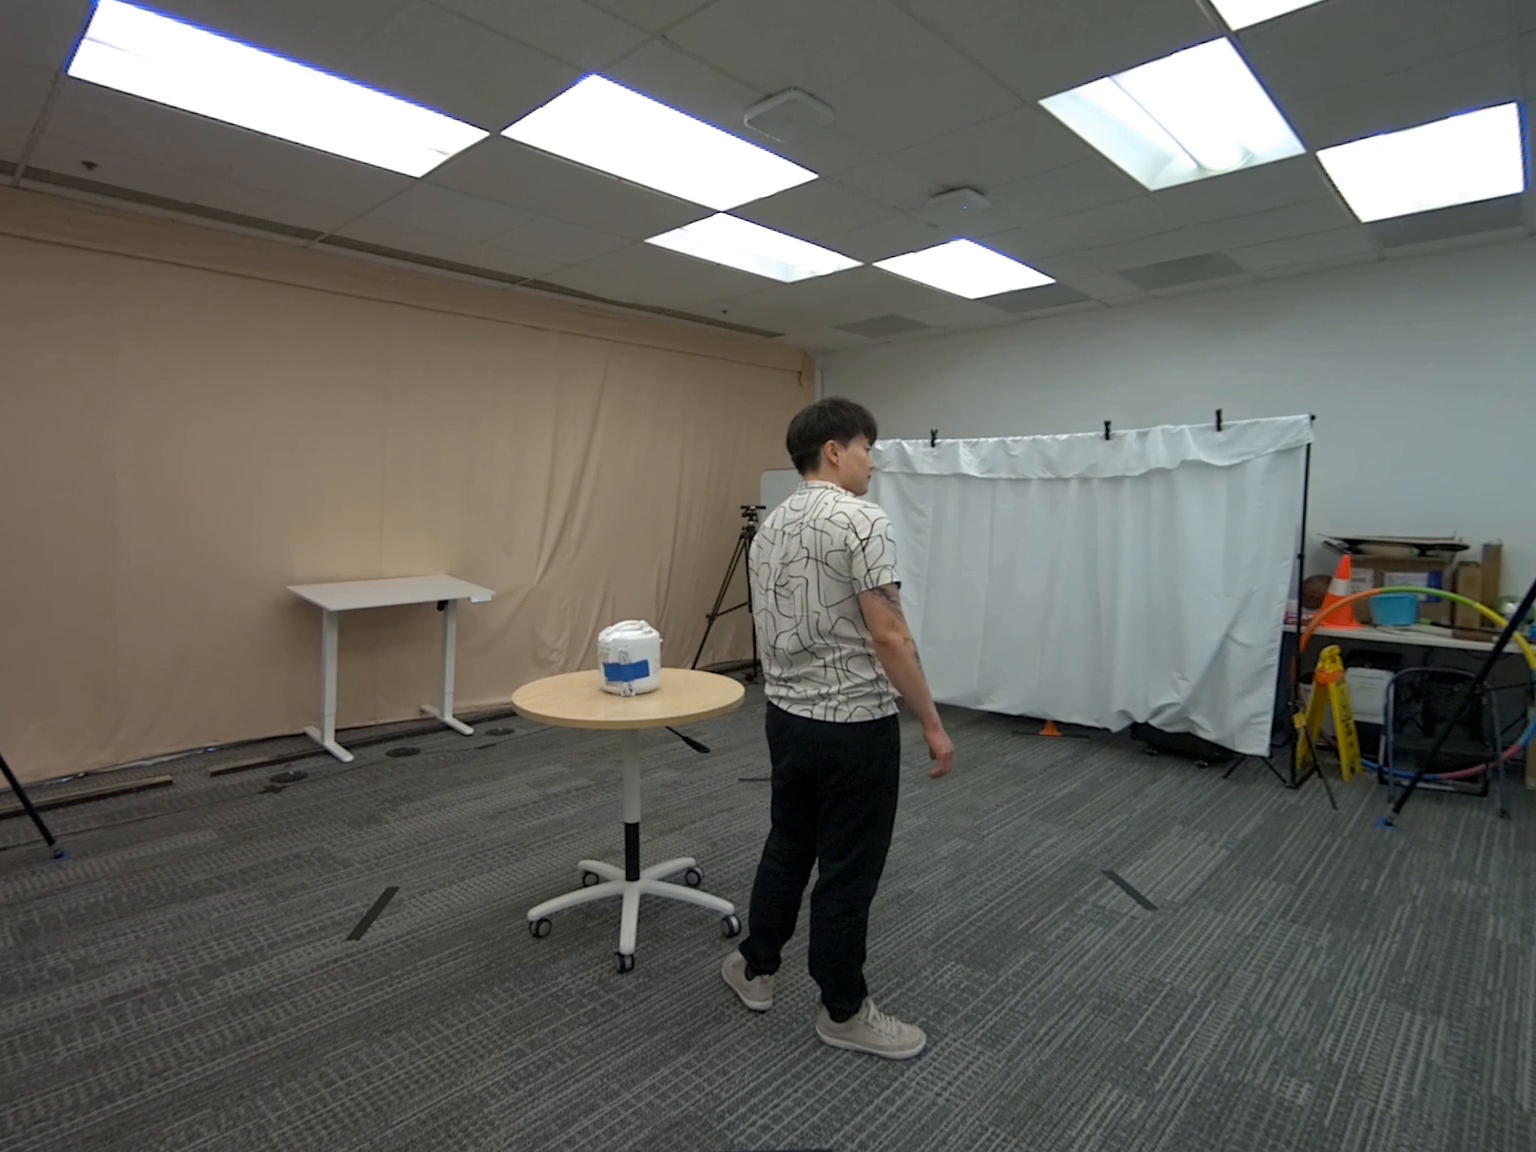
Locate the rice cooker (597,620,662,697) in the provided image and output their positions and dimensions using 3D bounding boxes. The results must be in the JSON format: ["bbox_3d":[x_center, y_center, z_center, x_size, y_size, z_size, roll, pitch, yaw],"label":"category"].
[{"bbox_3d":[-0.463,0.264,2.804,0.225,0.232,0.214,5,7,44],"label":"rice cooker"}]
